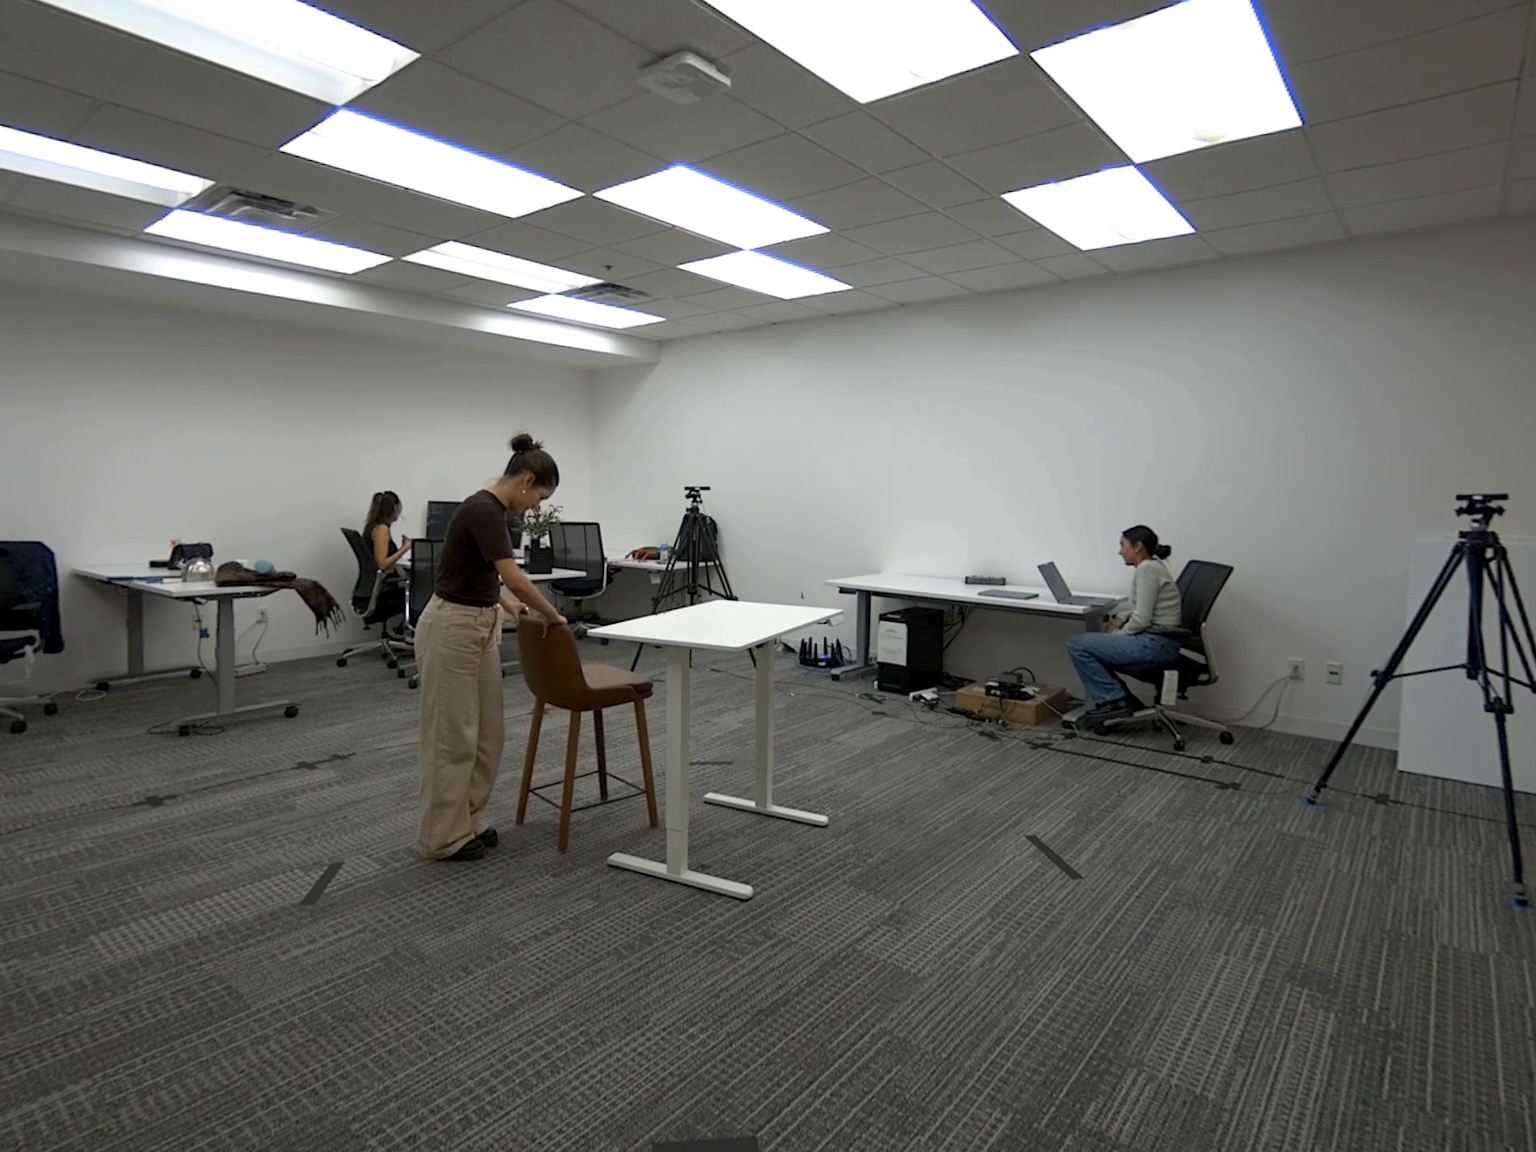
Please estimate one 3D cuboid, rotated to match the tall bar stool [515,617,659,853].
[{"bbox_3d":[-0.765,0.585,3.471,0.454,0.887,0.472,-4,5,-43],"label":"tall bar stool"}]
